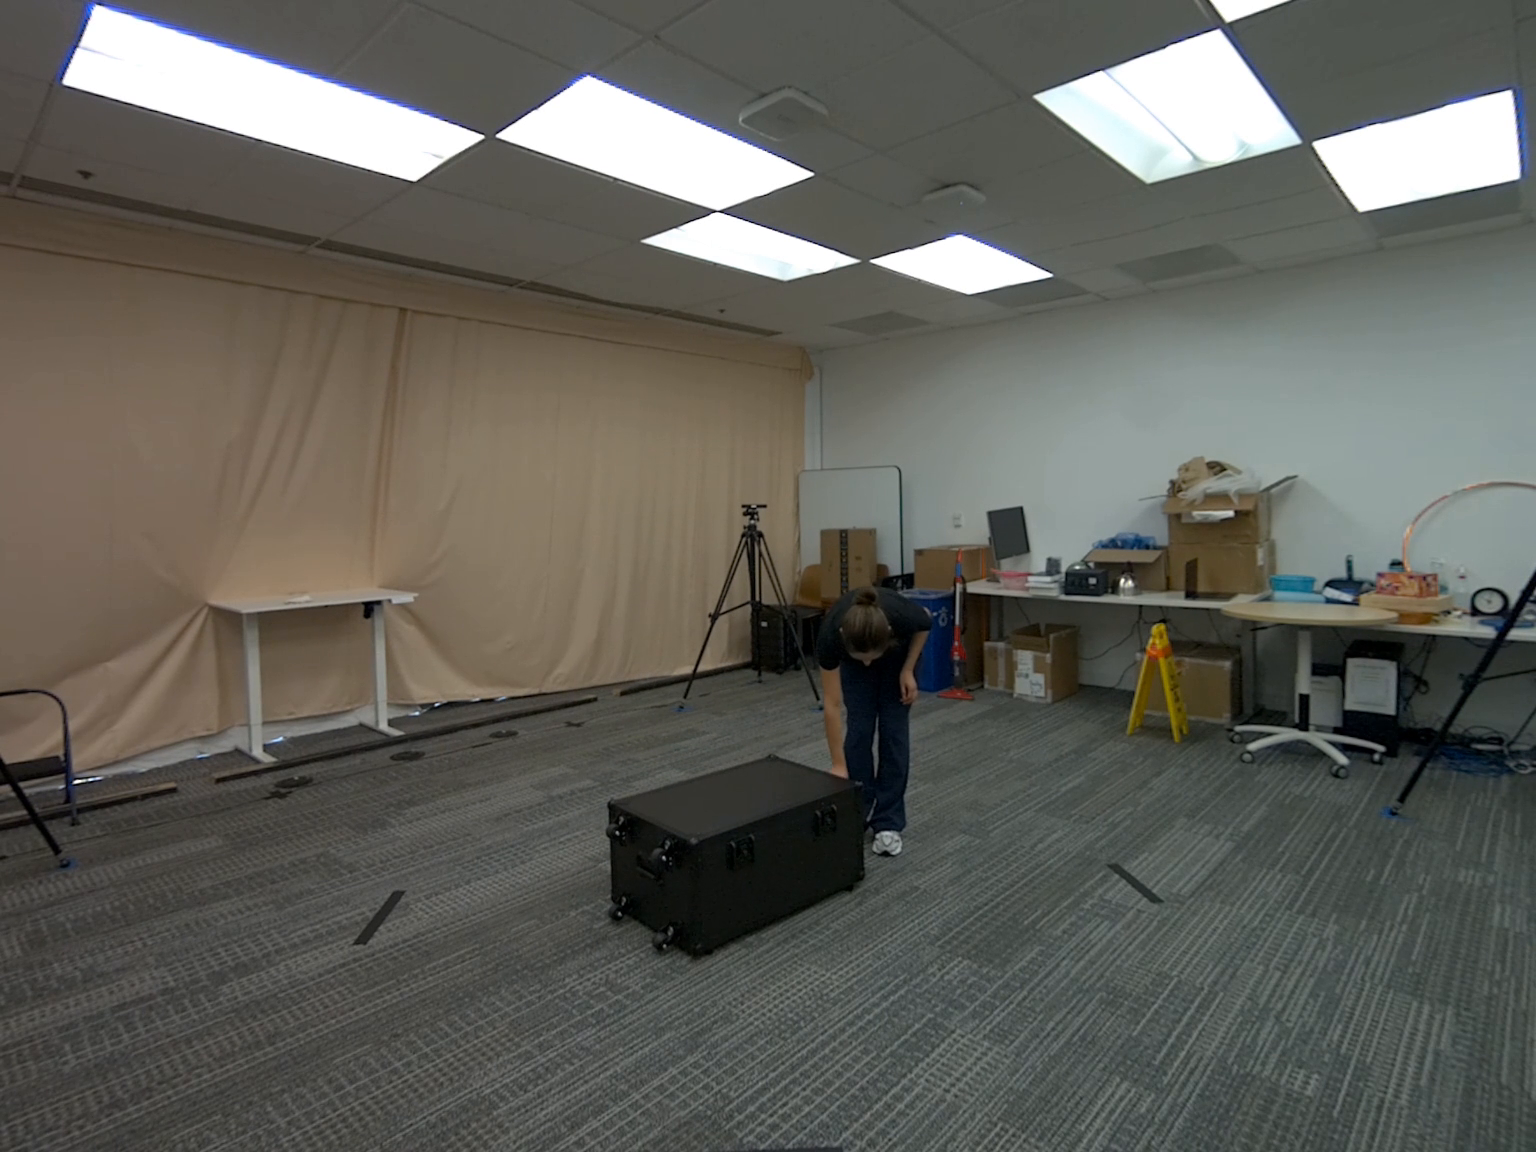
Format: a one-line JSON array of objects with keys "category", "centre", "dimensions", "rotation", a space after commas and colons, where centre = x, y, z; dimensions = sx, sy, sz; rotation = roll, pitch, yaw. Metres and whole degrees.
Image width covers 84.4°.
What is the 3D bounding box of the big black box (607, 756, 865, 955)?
[{"category": "big black box", "centre": [-0.068, 0.951, 2.999], "dimensions": [0.836, 0.395, 0.538], "rotation": [-5, 6, -40]}]
